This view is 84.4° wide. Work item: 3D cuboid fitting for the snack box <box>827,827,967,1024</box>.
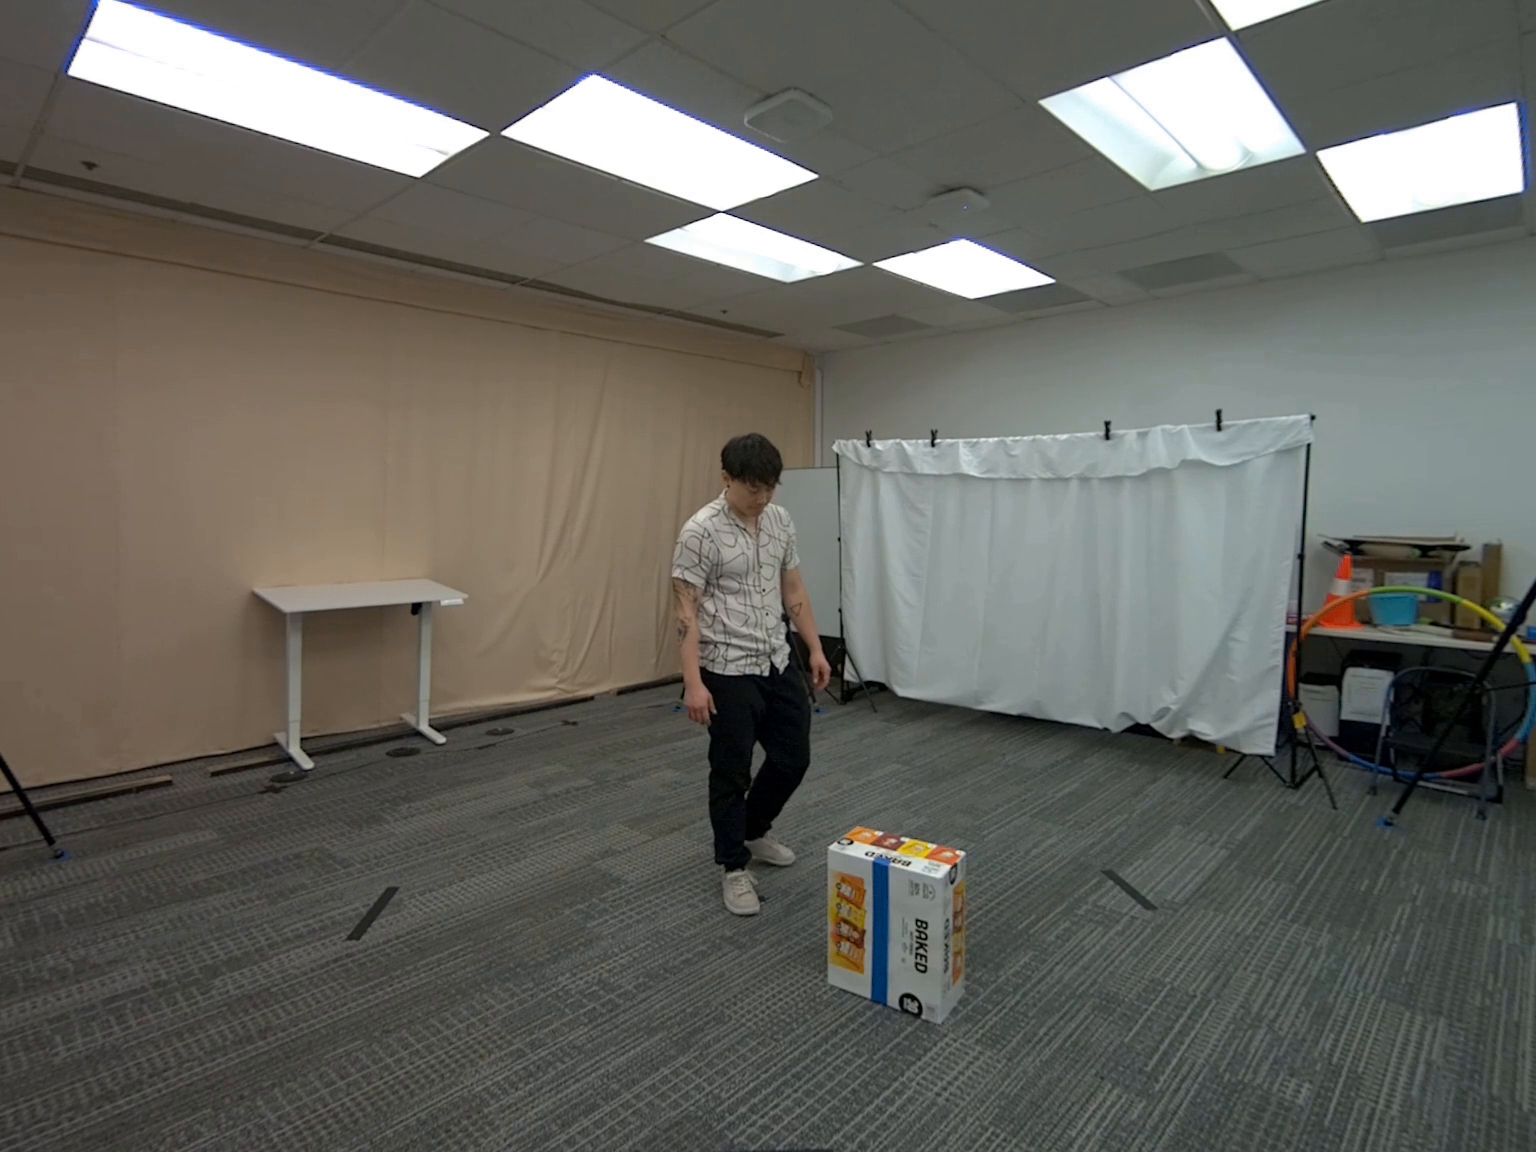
[{"bbox_3d":[0.378,0.987,2.417,0.351,0.404,0.200,2,4,34],"label":"snack box"}]
